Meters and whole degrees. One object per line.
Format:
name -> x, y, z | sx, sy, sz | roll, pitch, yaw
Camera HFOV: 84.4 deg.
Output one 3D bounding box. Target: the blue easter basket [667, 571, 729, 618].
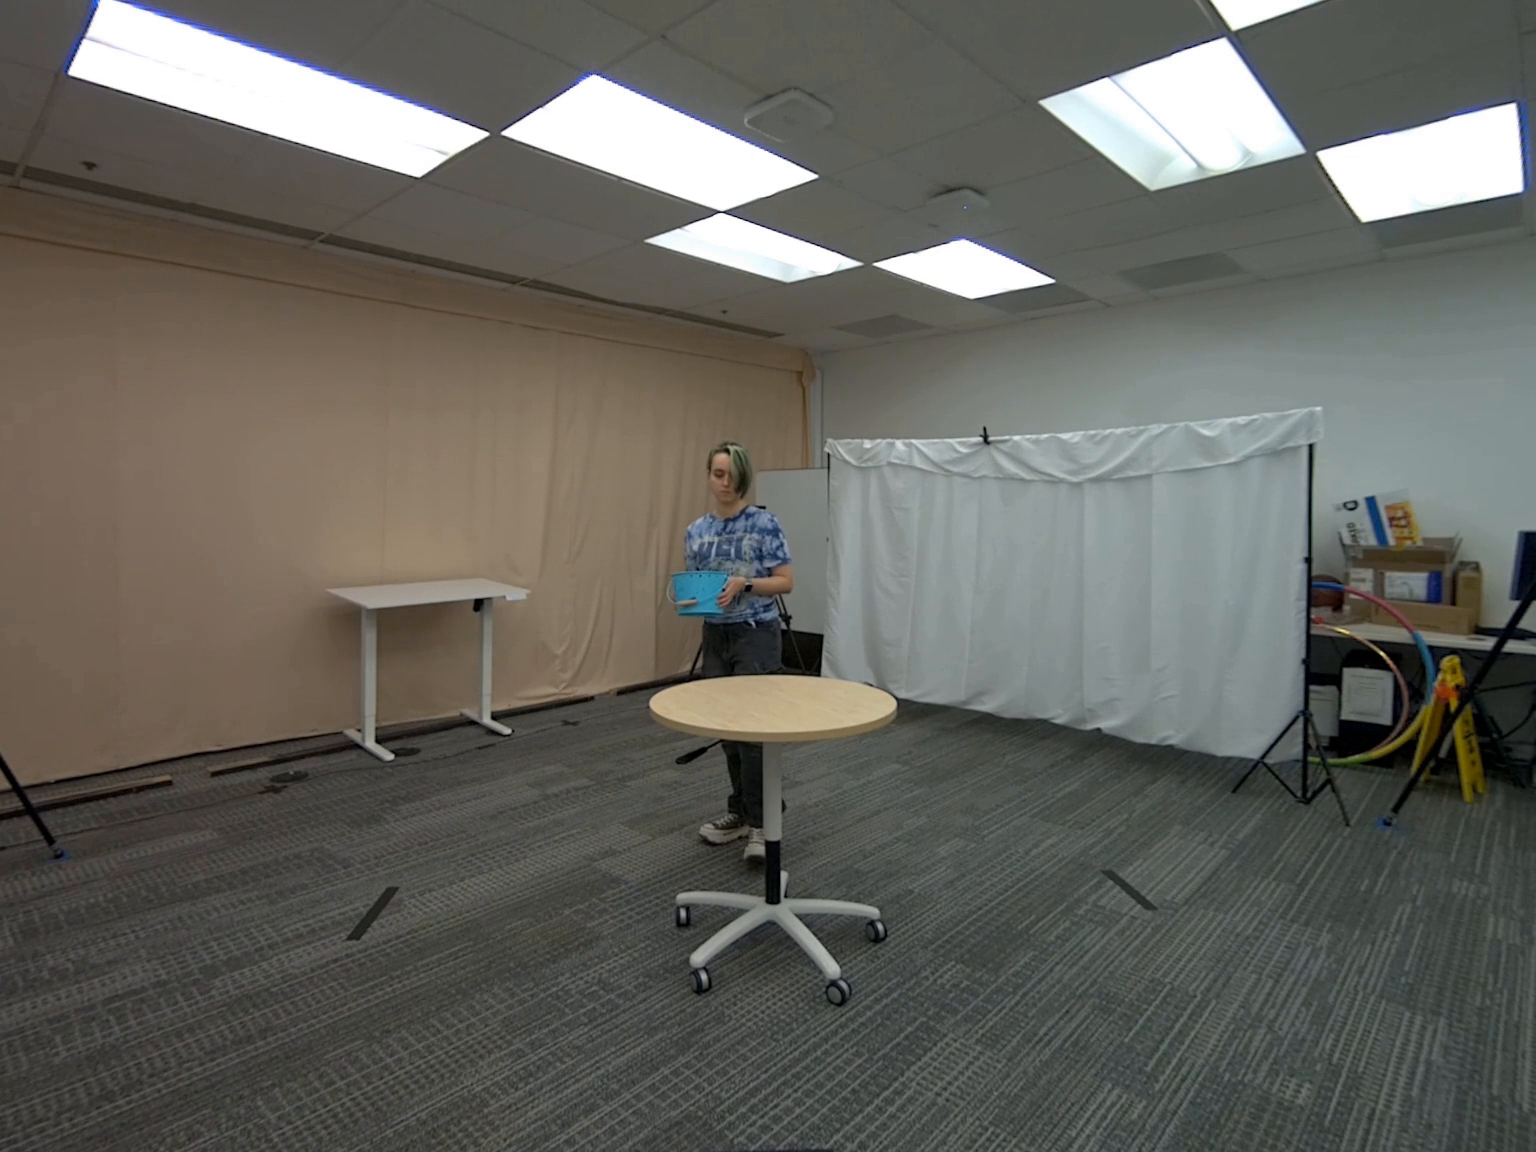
blue easter basket -> -0.255, 0.077, 3.280 | 0.243, 0.157, 0.242 | 3, -8, -1
